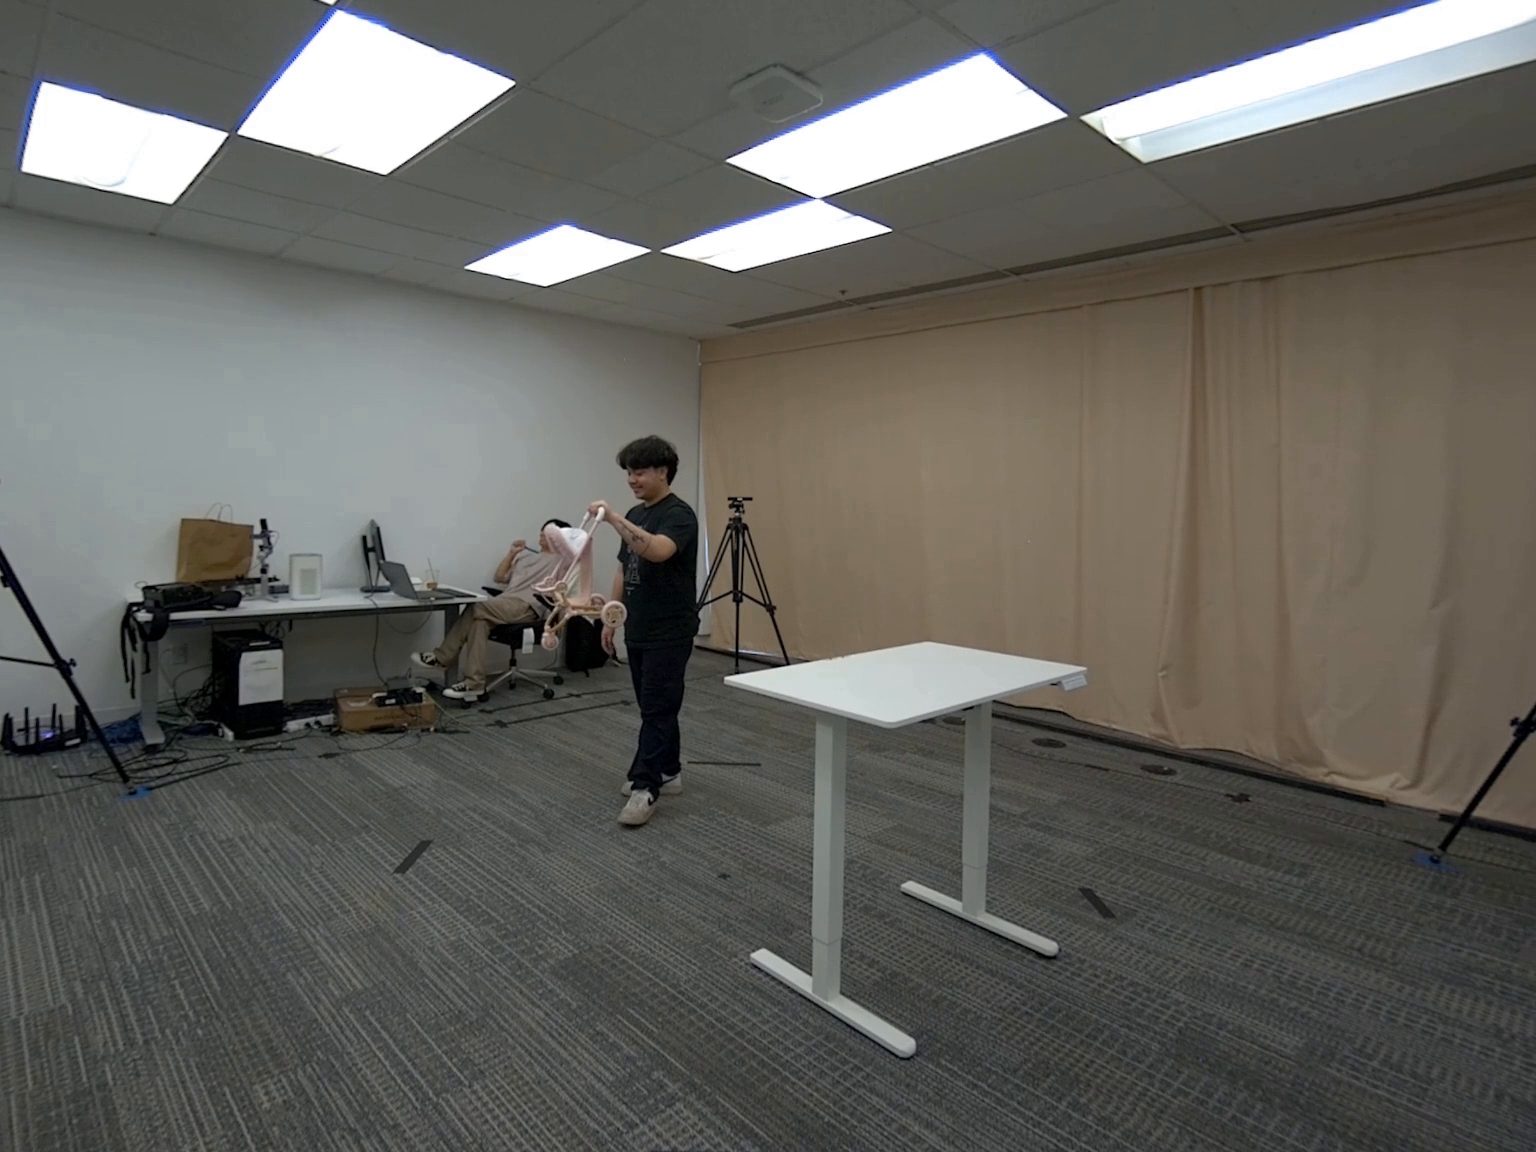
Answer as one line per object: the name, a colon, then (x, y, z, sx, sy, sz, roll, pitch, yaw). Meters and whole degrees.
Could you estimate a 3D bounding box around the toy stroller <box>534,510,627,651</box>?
toy stroller: (-0.813, 0.012, 3.423, 0.337, 0.530, 0.287, -13, 11, -23)
